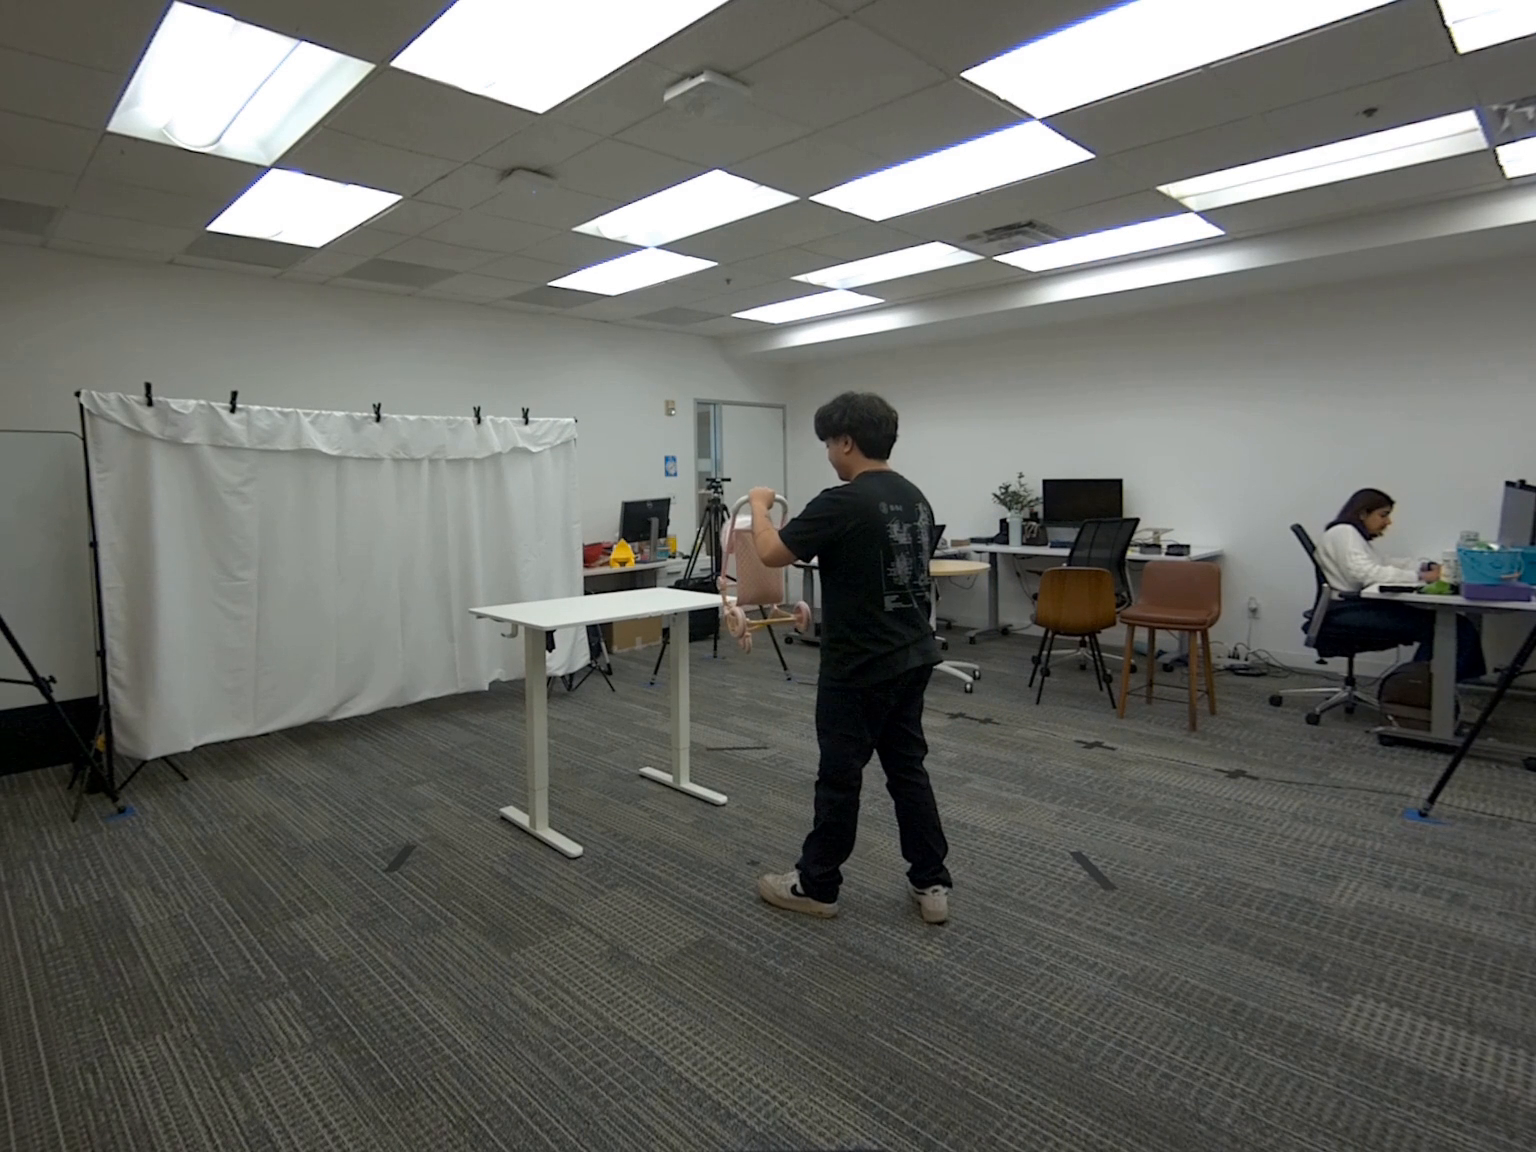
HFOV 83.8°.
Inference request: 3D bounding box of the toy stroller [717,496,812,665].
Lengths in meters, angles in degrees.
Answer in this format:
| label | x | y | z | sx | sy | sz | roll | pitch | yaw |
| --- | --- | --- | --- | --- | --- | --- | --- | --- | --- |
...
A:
| label | x | y | z | sx | sy | sz | roll | pitch | yaw |
| --- | --- | --- | --- | --- | --- | --- | --- | --- | --- |
| toy stroller | -0.048 | 0.004 | 3.063 | 0.277 | 0.538 | 0.344 | -5 | -6 | -18 |
